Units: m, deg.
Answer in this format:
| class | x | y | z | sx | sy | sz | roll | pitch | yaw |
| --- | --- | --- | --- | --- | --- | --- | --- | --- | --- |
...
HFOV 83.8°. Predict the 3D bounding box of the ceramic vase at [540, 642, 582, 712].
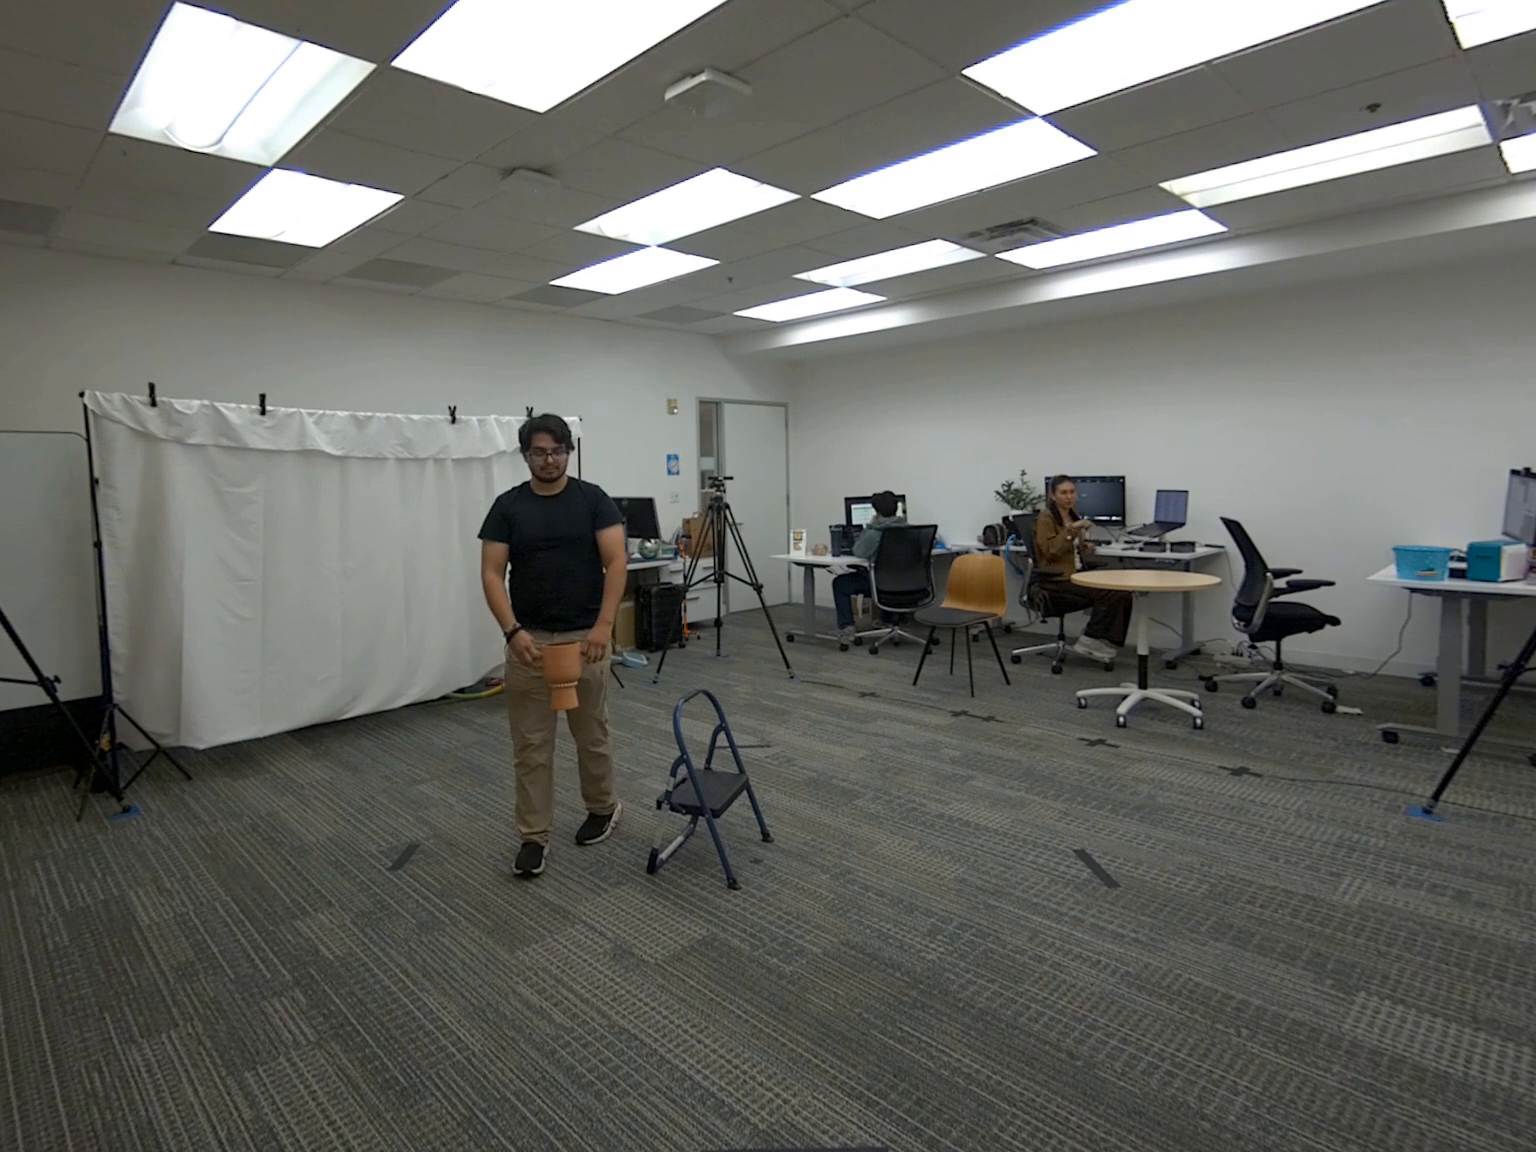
| class | x | y | z | sx | sy | sz | roll | pitch | yaw |
| --- | --- | --- | --- | --- | --- | --- | --- | --- | --- |
| ceramic vase | -0.716 | 0.348 | 2.962 | 0.162 | 0.220 | 0.131 | -3 | 1 | 28 |
